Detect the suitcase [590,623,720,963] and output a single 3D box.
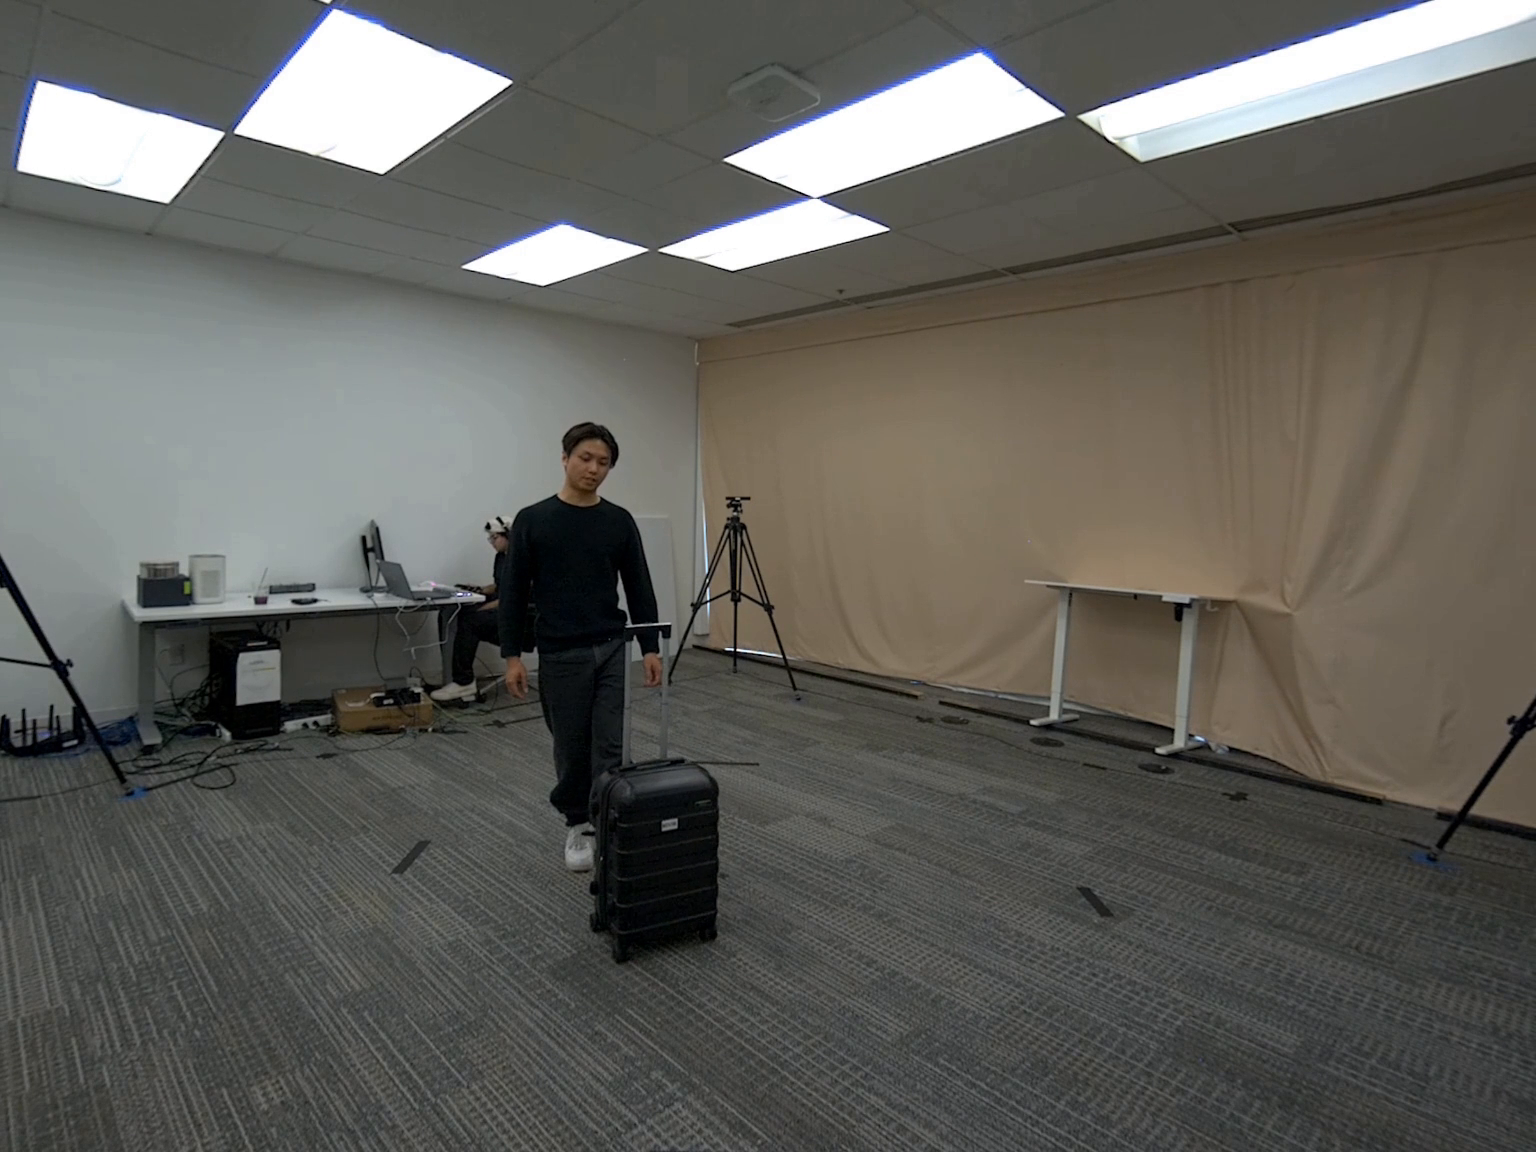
[{"bbox_3d":[-0.341,0.668,2.622,0.377,0.974,0.263,-1,6,-27],"label":"suitcase"}]
